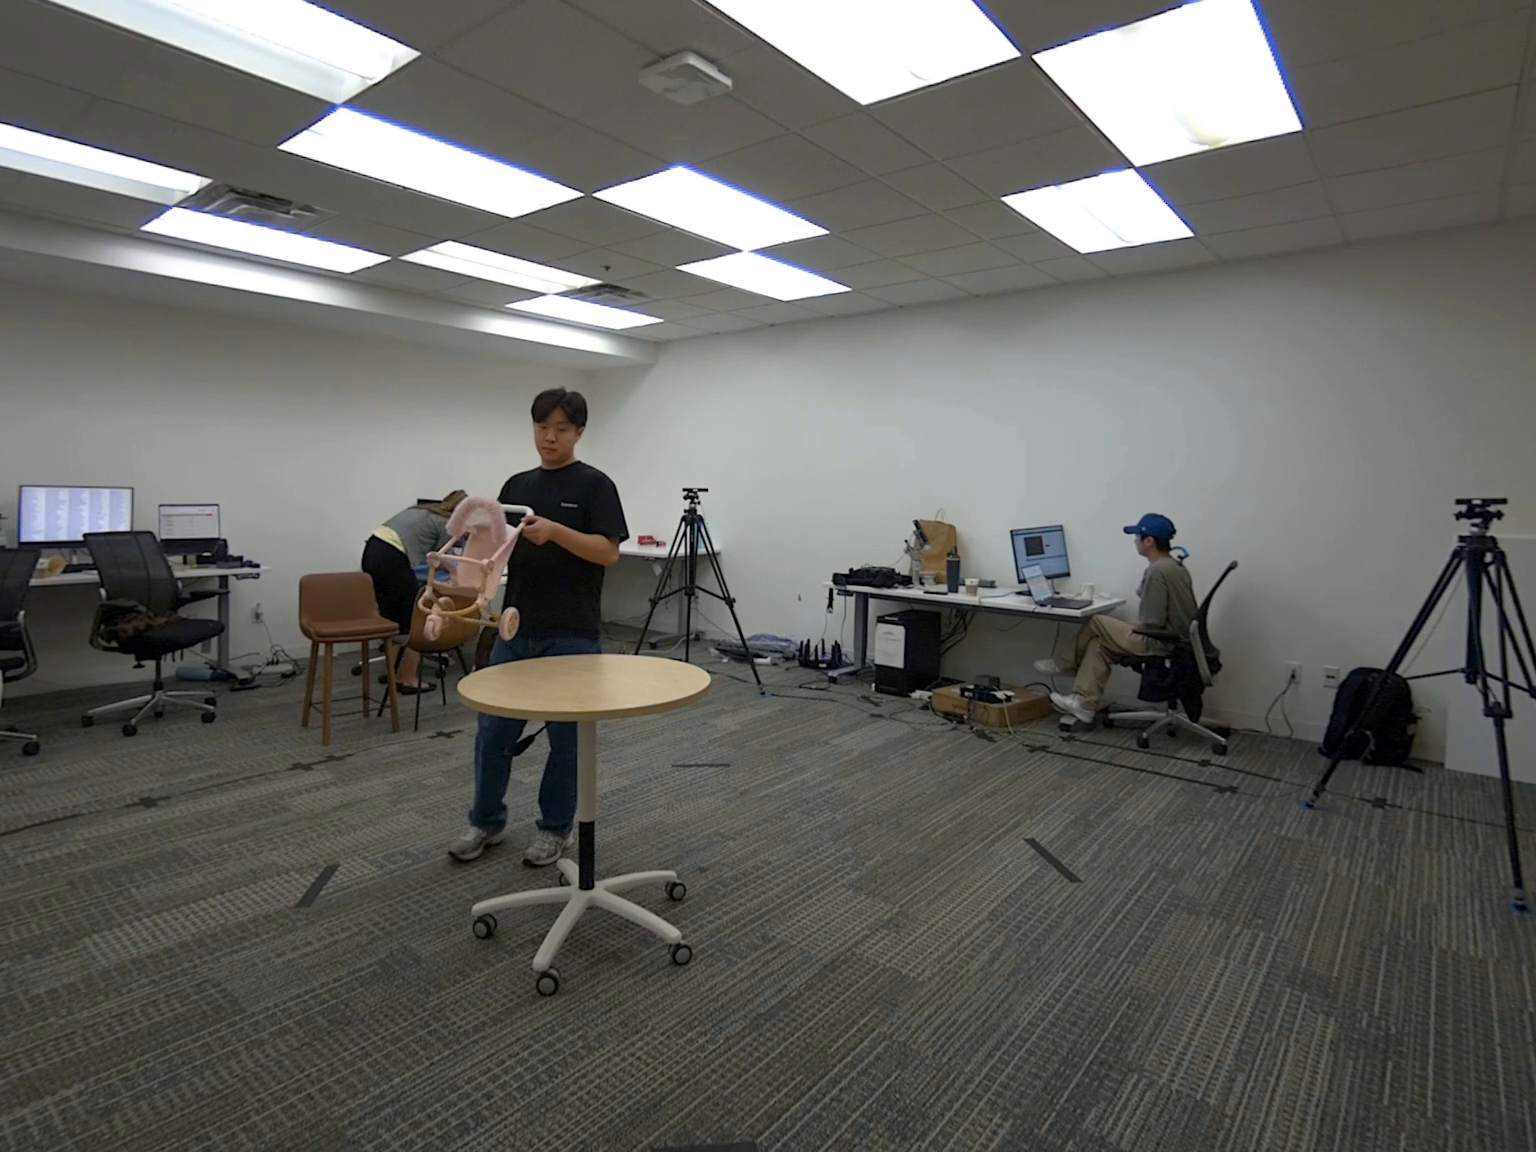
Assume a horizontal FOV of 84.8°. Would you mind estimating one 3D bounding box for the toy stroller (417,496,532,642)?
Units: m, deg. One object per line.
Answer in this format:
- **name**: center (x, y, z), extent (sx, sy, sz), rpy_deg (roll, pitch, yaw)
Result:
- **toy stroller**: center (-0.984, -0.029, 2.800), extent (0.287, 0.540, 0.331), rpy_deg (7, -13, 17)
